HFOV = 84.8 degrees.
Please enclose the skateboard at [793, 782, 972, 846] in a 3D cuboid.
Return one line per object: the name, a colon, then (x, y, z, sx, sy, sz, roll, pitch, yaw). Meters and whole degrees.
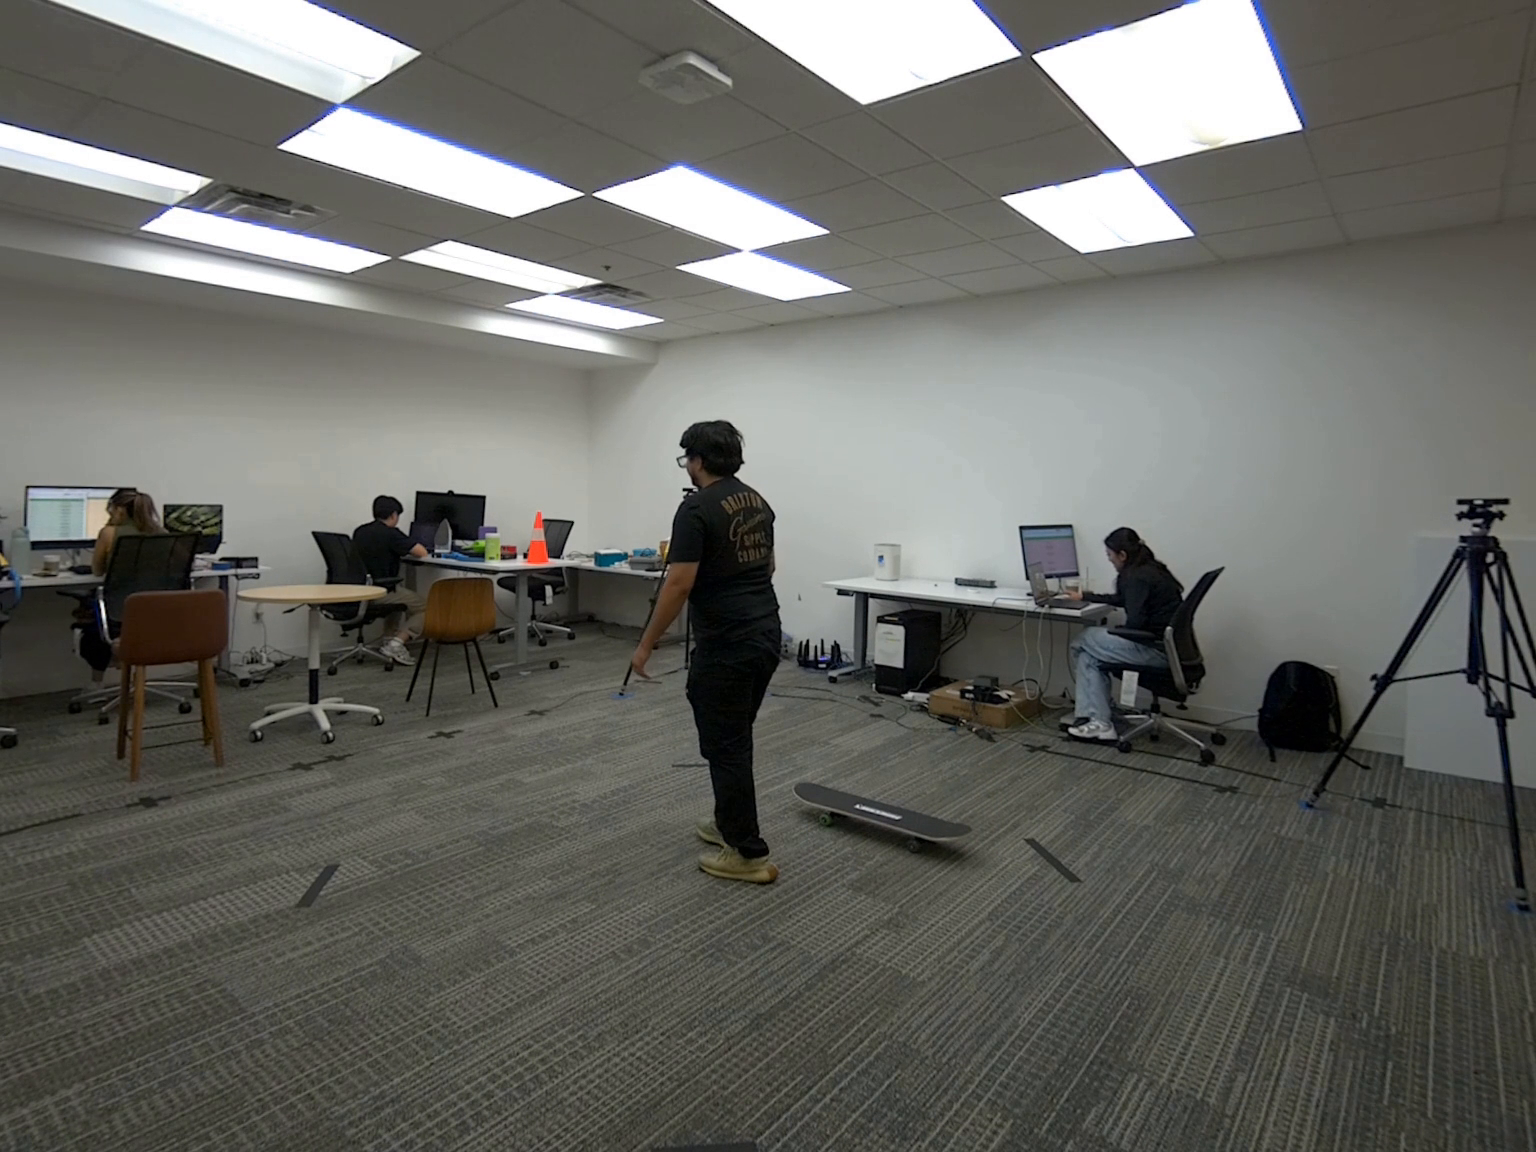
skateboard: (0.442, 0.994, 3.488, 0.811, 0.110, 0.188, 6, 8, 36)
